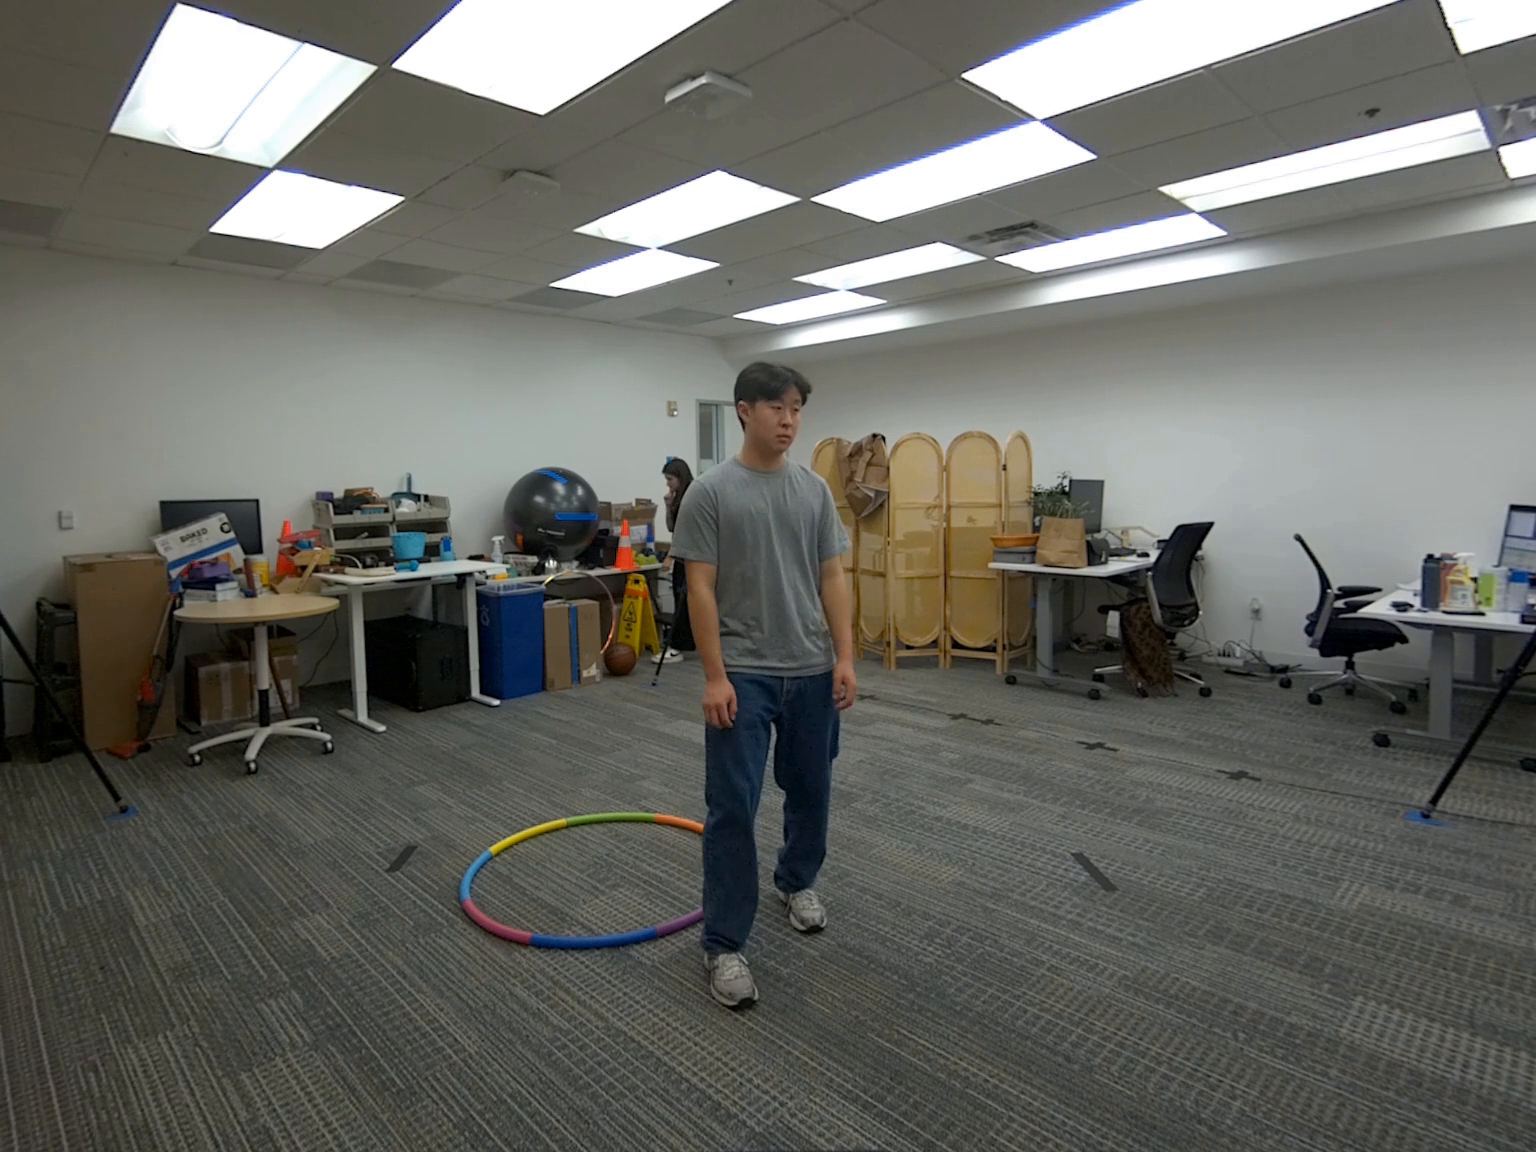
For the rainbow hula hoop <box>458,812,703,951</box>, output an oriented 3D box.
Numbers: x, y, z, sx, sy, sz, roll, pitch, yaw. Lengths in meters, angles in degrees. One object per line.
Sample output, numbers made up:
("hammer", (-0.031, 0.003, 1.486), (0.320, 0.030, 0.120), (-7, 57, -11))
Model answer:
("rainbow hula hoop", (-0.575, 1.030, 3.039), (0.978, 0.035, 0.985), (-1, 7, -2))
